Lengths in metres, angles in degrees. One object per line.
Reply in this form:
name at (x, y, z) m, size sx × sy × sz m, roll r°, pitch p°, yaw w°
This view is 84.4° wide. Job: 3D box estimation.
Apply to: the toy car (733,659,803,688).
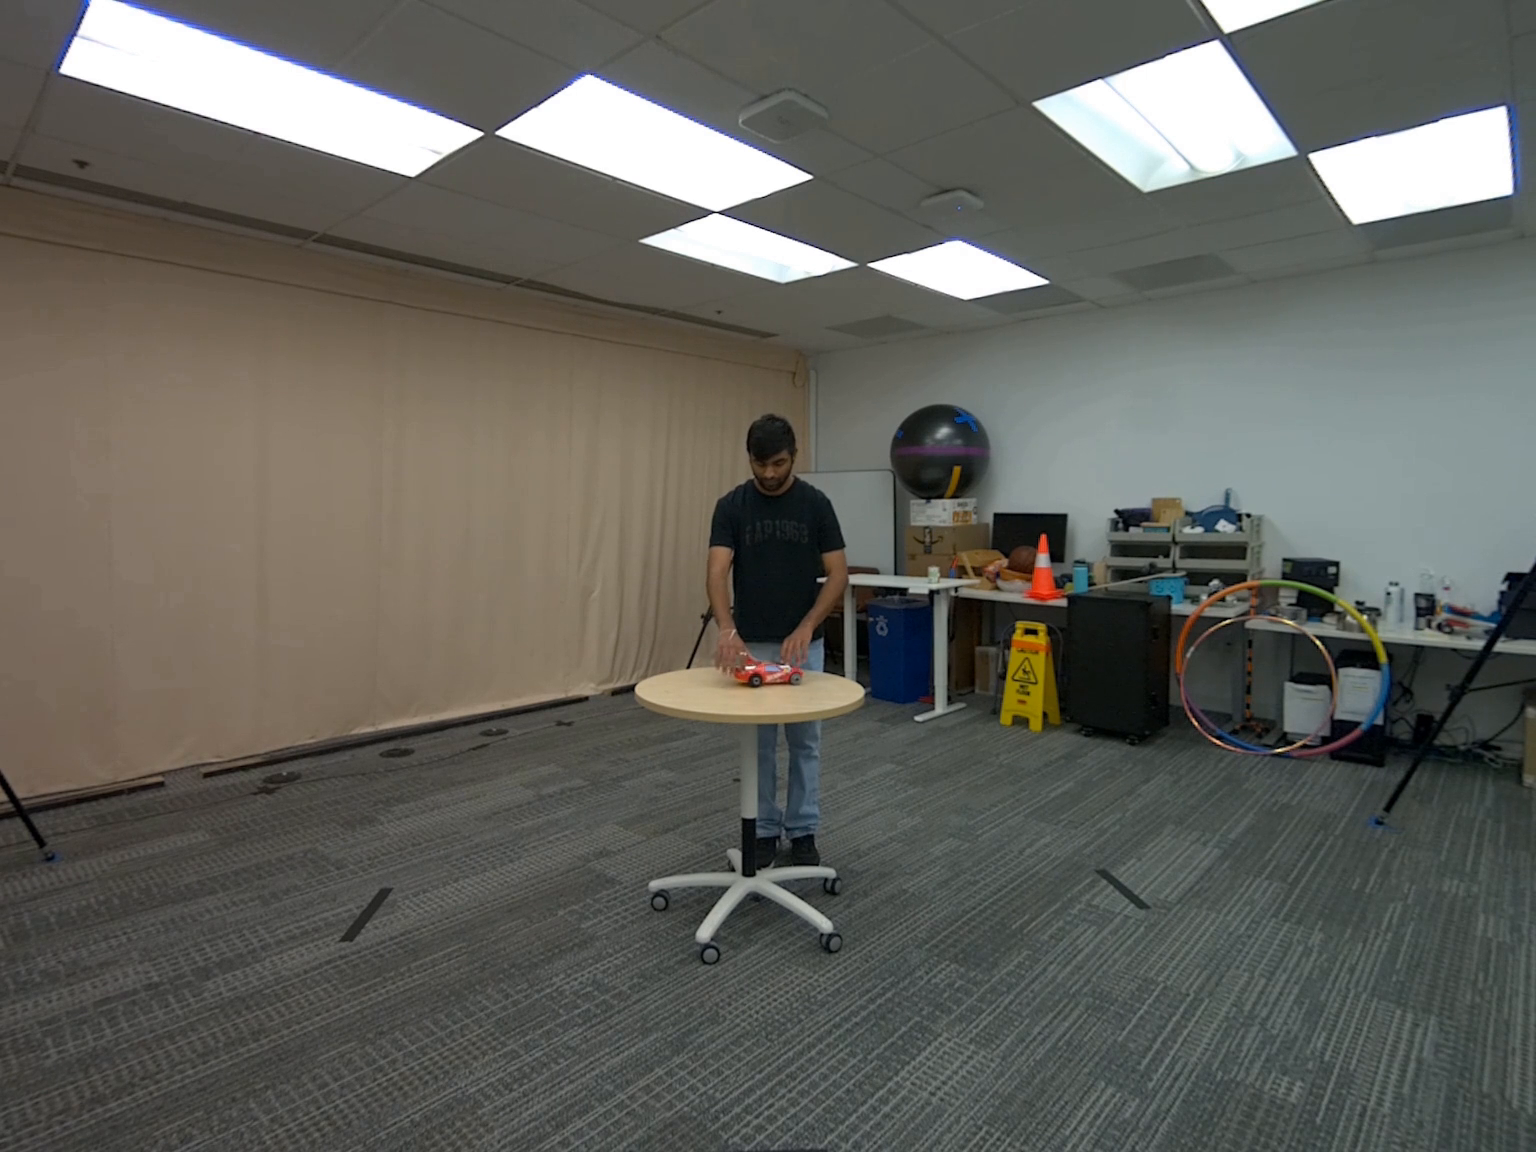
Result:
toy car at (-0.017, 0.337, 2.889) m, size 0.250 × 0.083 × 0.133 m, roll 10°, pitch 0°, yaw -17°
